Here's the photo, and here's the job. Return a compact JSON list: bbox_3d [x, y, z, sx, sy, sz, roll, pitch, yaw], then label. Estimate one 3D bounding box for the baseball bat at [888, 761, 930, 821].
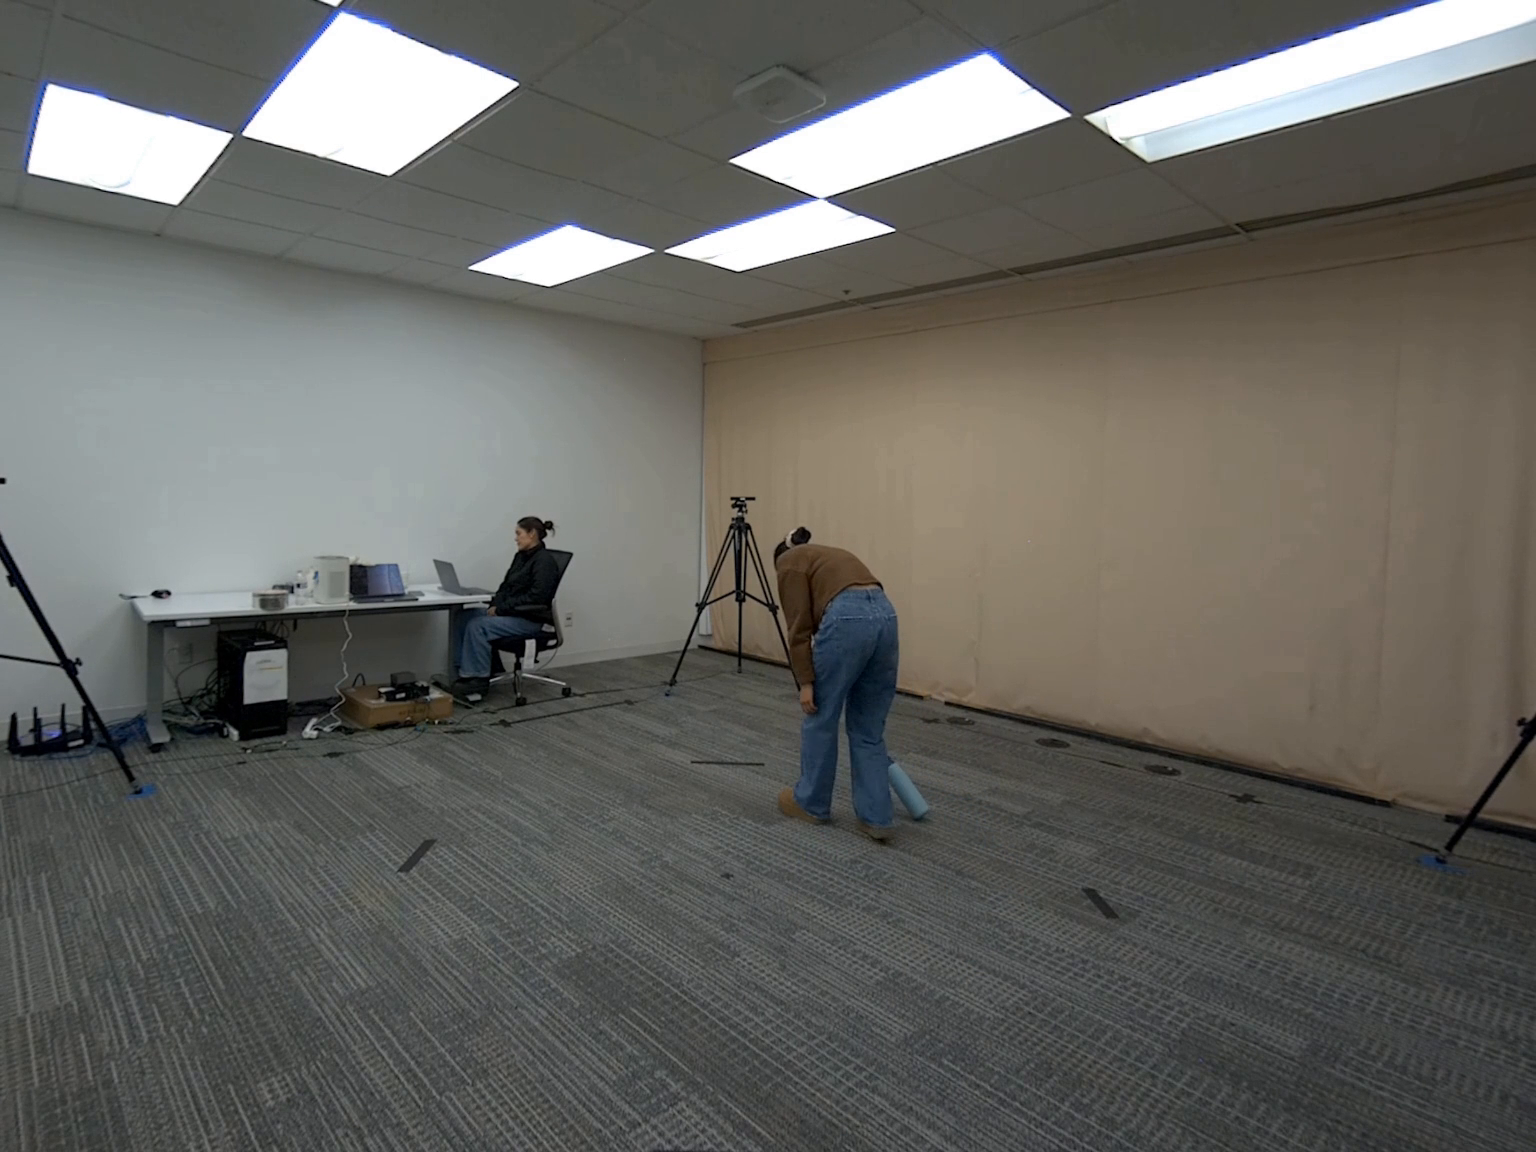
[{"bbox_3d":[0.529,0.853,3.818,0.088,0.556,0.087,-28,-26,-16],"label":"baseball bat"}]
